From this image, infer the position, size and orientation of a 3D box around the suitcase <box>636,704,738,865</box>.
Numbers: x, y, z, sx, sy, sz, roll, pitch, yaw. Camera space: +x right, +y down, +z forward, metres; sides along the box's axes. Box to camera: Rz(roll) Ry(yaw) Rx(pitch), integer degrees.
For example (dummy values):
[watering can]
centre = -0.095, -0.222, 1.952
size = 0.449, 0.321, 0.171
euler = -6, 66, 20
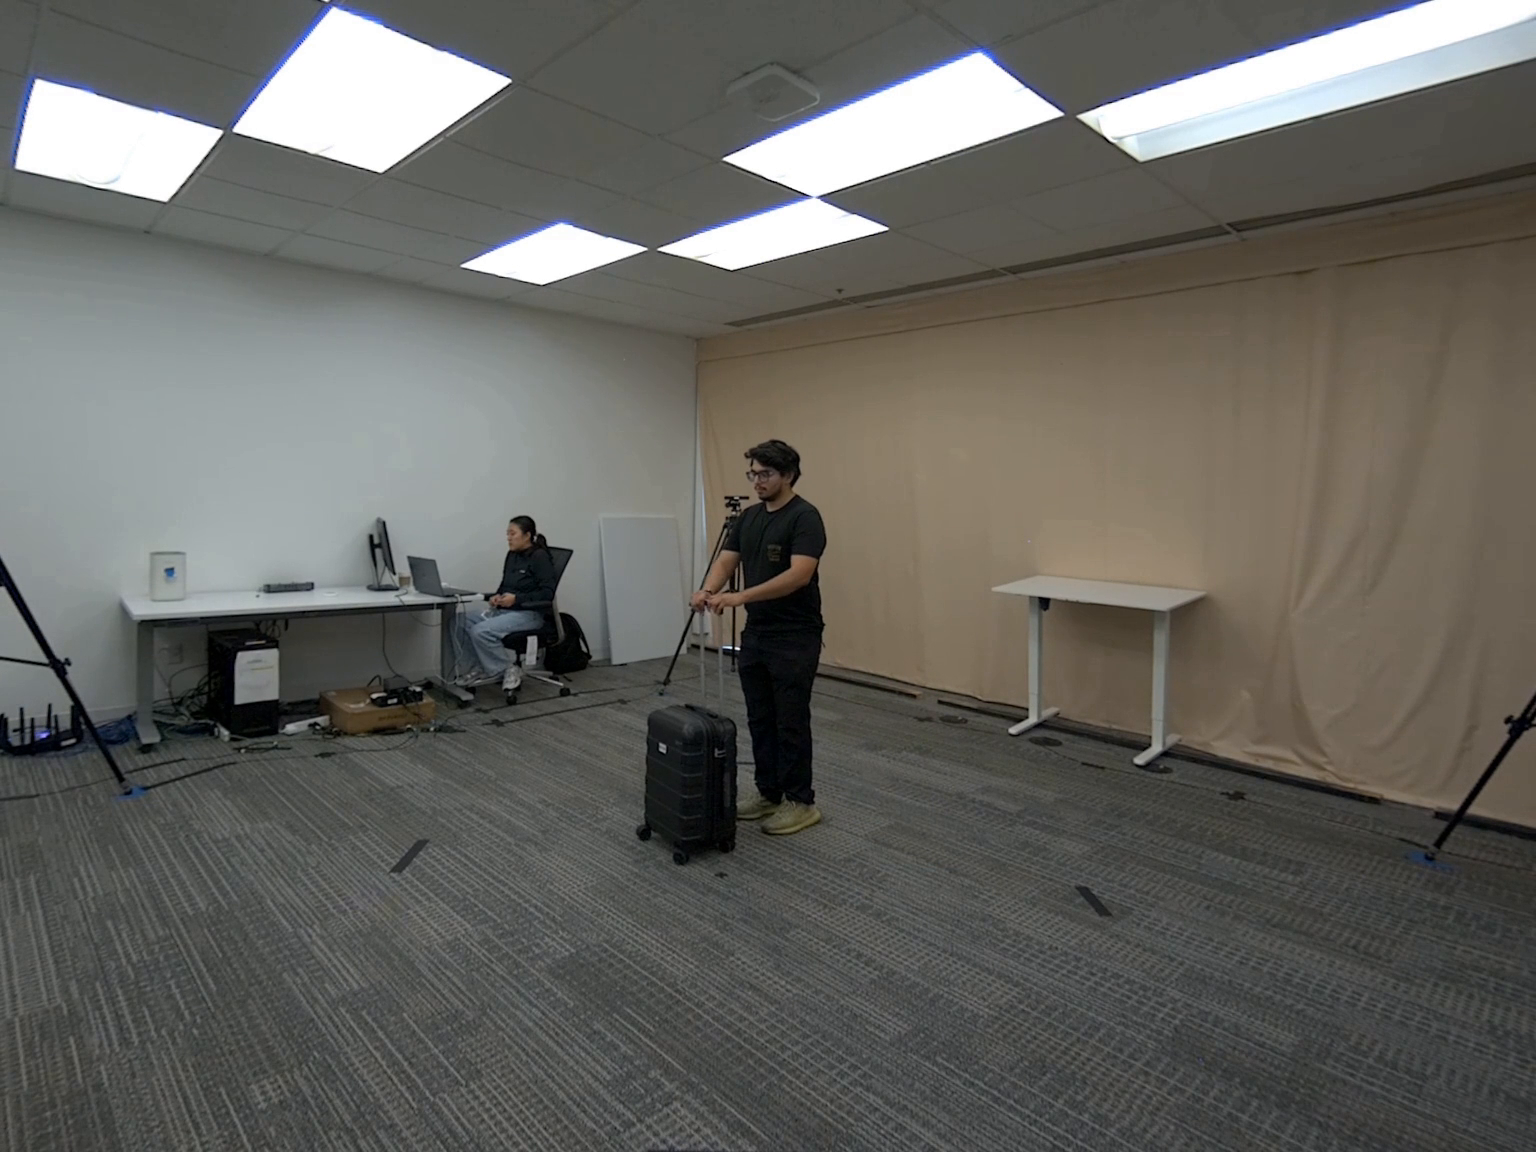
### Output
[suitcase]
centre = -0.321, 0.600, 3.333
size = 0.251, 0.976, 0.393
euler = -2, 5, -34
